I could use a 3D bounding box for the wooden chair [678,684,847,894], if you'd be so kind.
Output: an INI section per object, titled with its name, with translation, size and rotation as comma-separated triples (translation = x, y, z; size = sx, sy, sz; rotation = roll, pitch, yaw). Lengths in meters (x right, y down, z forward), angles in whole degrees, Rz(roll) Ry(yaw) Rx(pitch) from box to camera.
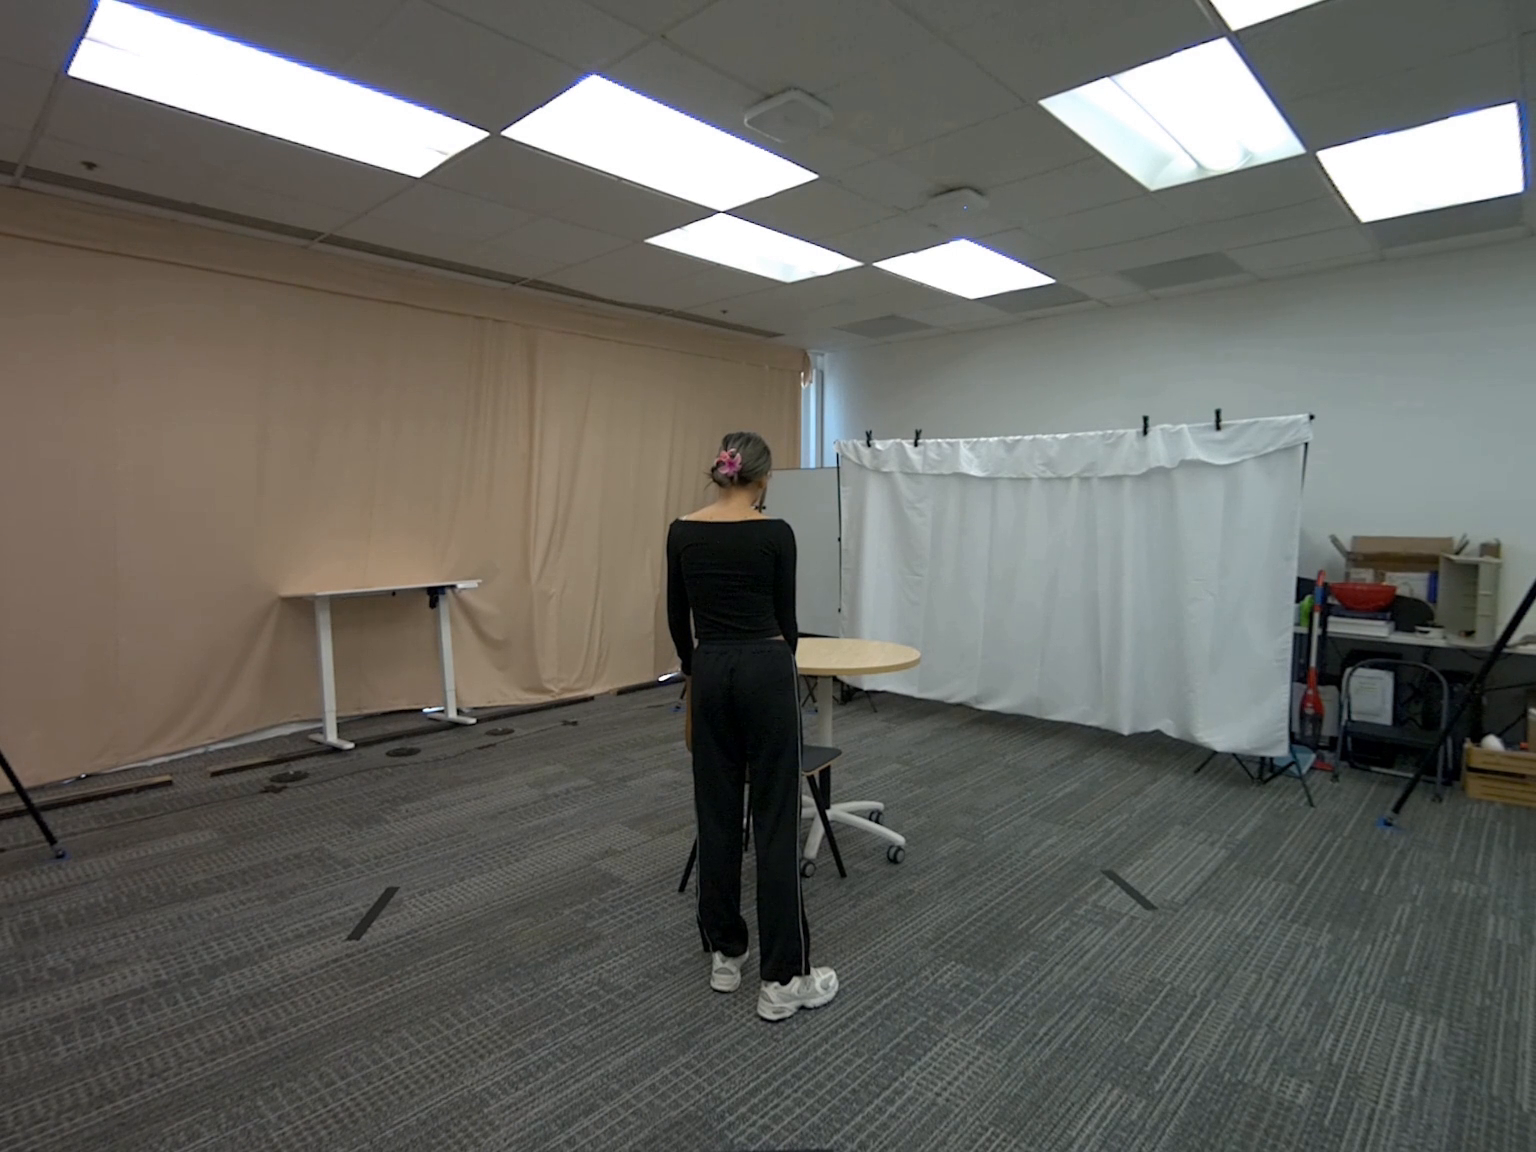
[wooden chair]
translation = -0.013, 0.706, 3.070
size = 0.493, 0.873, 0.510
rotation = 2, 8, 33
